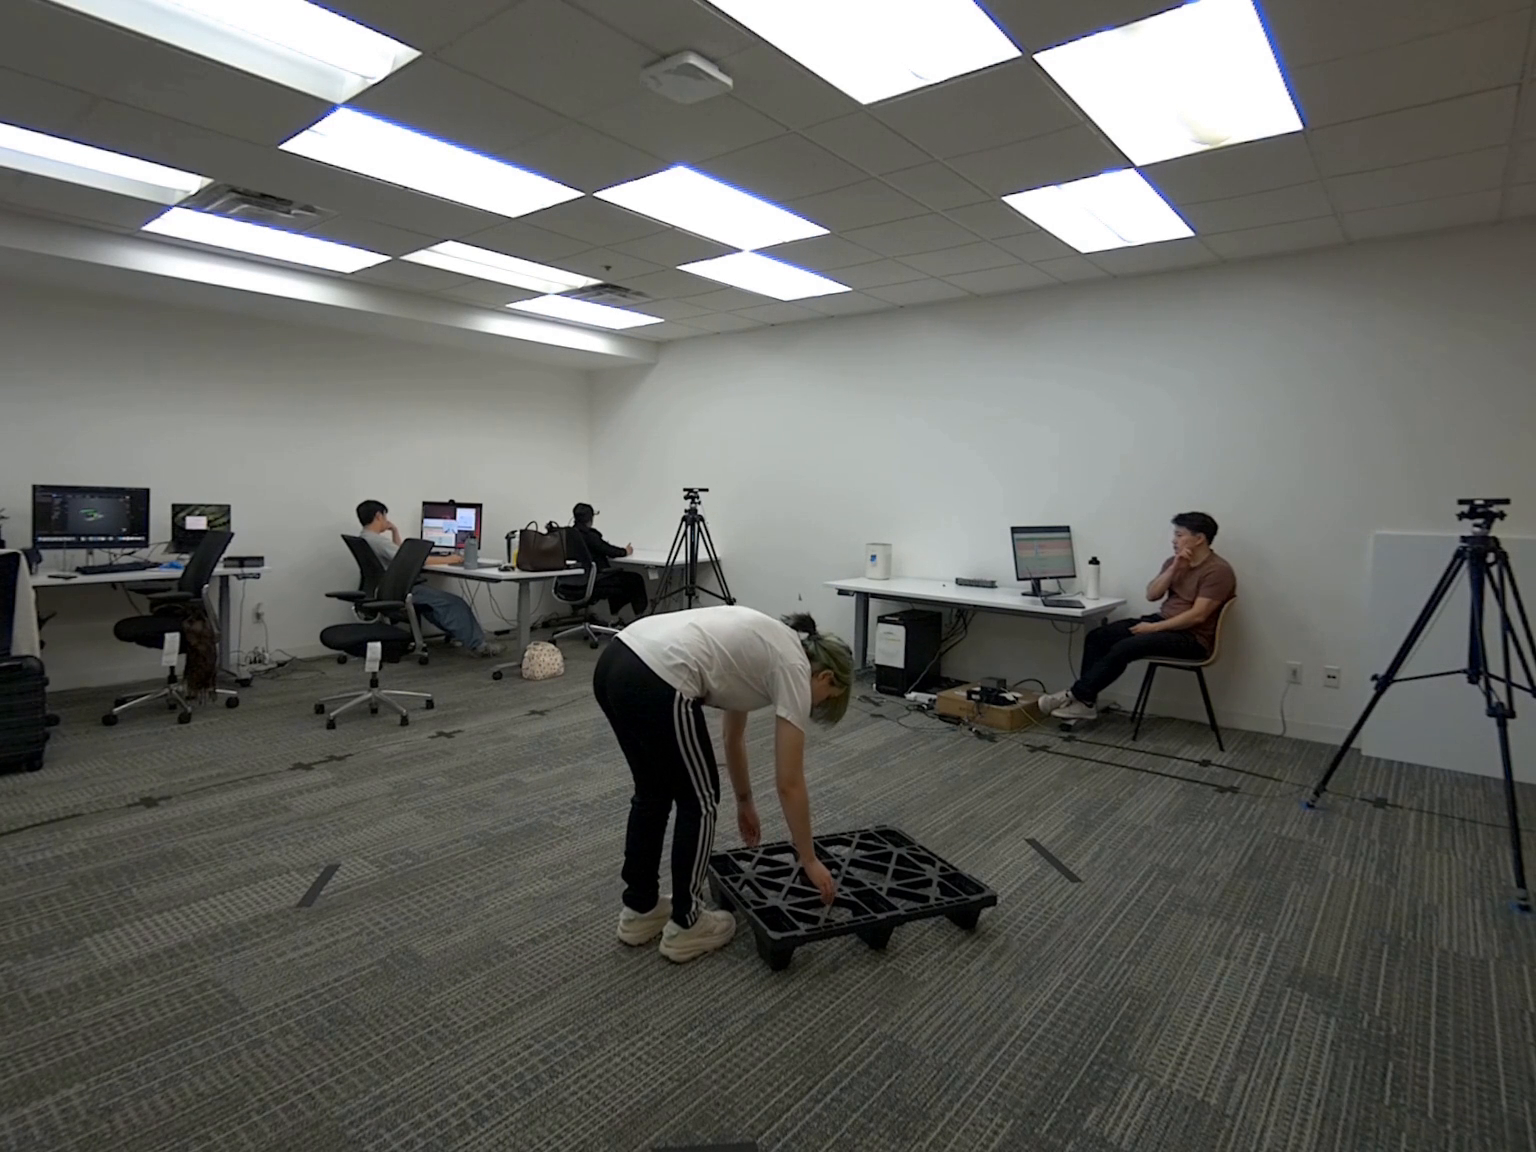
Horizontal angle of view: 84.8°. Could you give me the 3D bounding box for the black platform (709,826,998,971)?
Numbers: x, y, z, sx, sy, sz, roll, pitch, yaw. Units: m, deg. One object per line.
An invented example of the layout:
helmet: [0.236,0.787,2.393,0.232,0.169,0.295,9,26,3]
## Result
black platform: [0.237,1.041,2.805,0.787,0.143,0.622,-1,7,-24]
